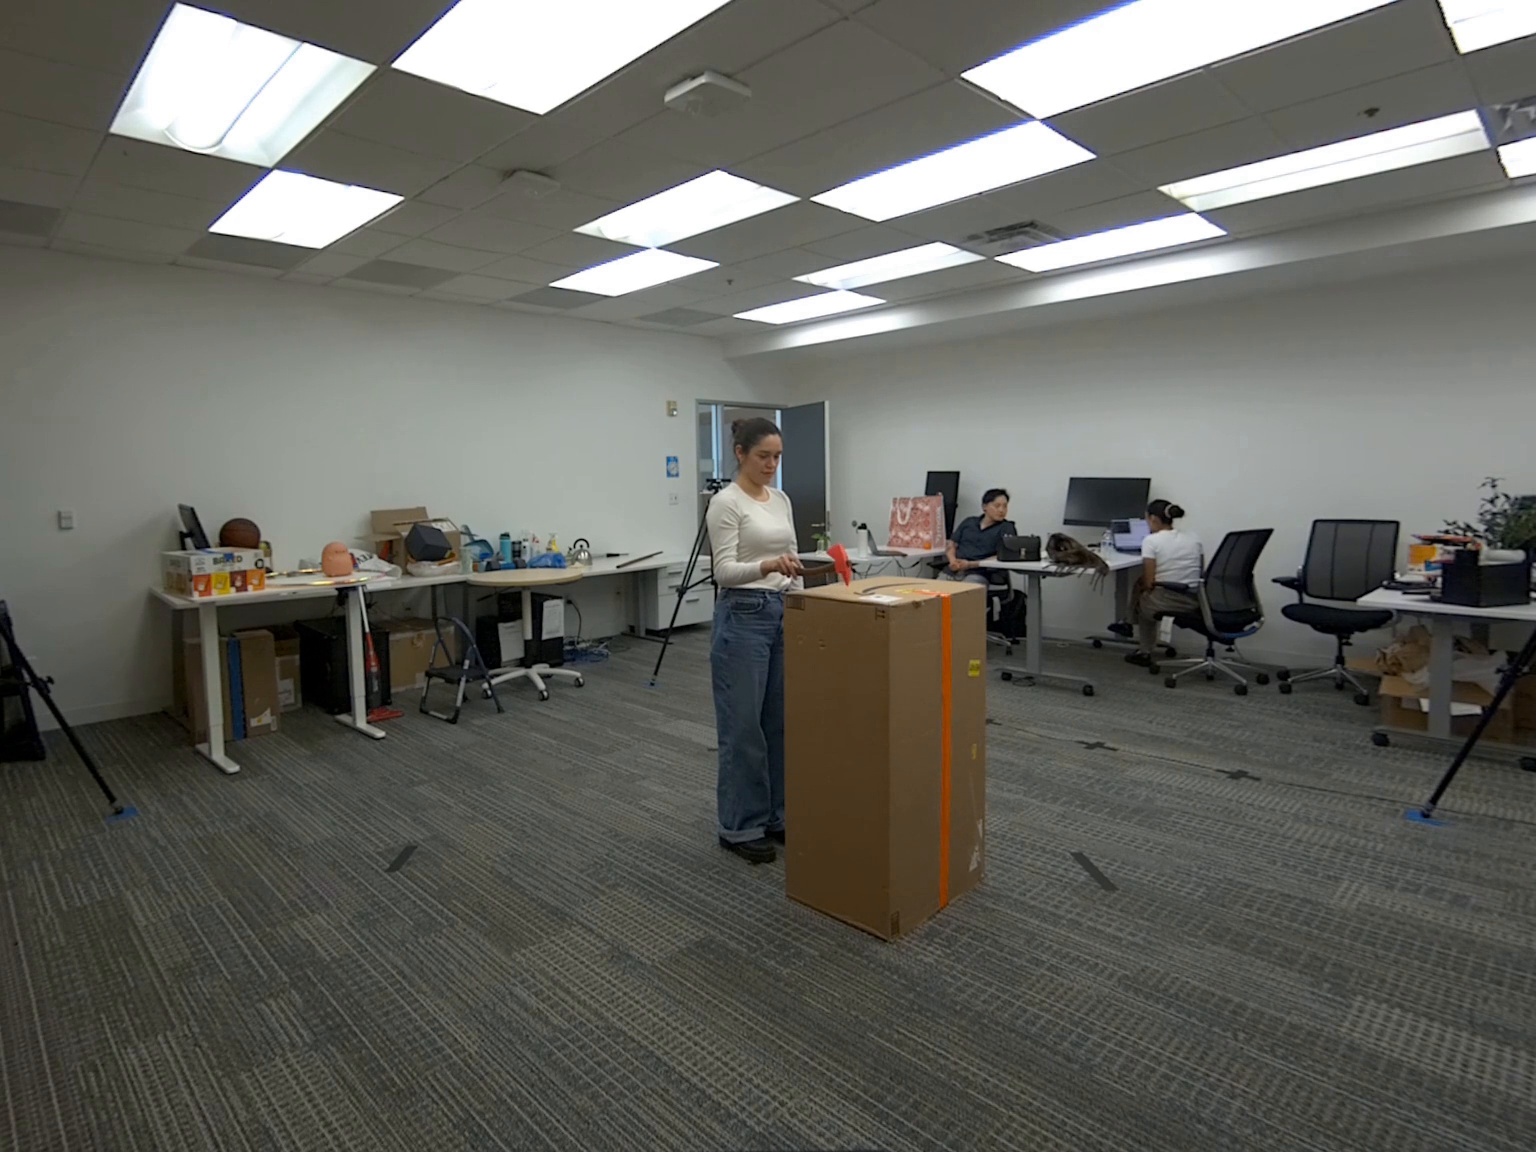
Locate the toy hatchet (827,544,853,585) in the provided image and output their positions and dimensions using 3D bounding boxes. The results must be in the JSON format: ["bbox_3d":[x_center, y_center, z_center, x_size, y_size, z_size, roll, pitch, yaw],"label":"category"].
[{"bbox_3d":[0.163,-0.047,2.765,0.279,0.130,0.029,10,14,43],"label":"toy hatchet"}]
